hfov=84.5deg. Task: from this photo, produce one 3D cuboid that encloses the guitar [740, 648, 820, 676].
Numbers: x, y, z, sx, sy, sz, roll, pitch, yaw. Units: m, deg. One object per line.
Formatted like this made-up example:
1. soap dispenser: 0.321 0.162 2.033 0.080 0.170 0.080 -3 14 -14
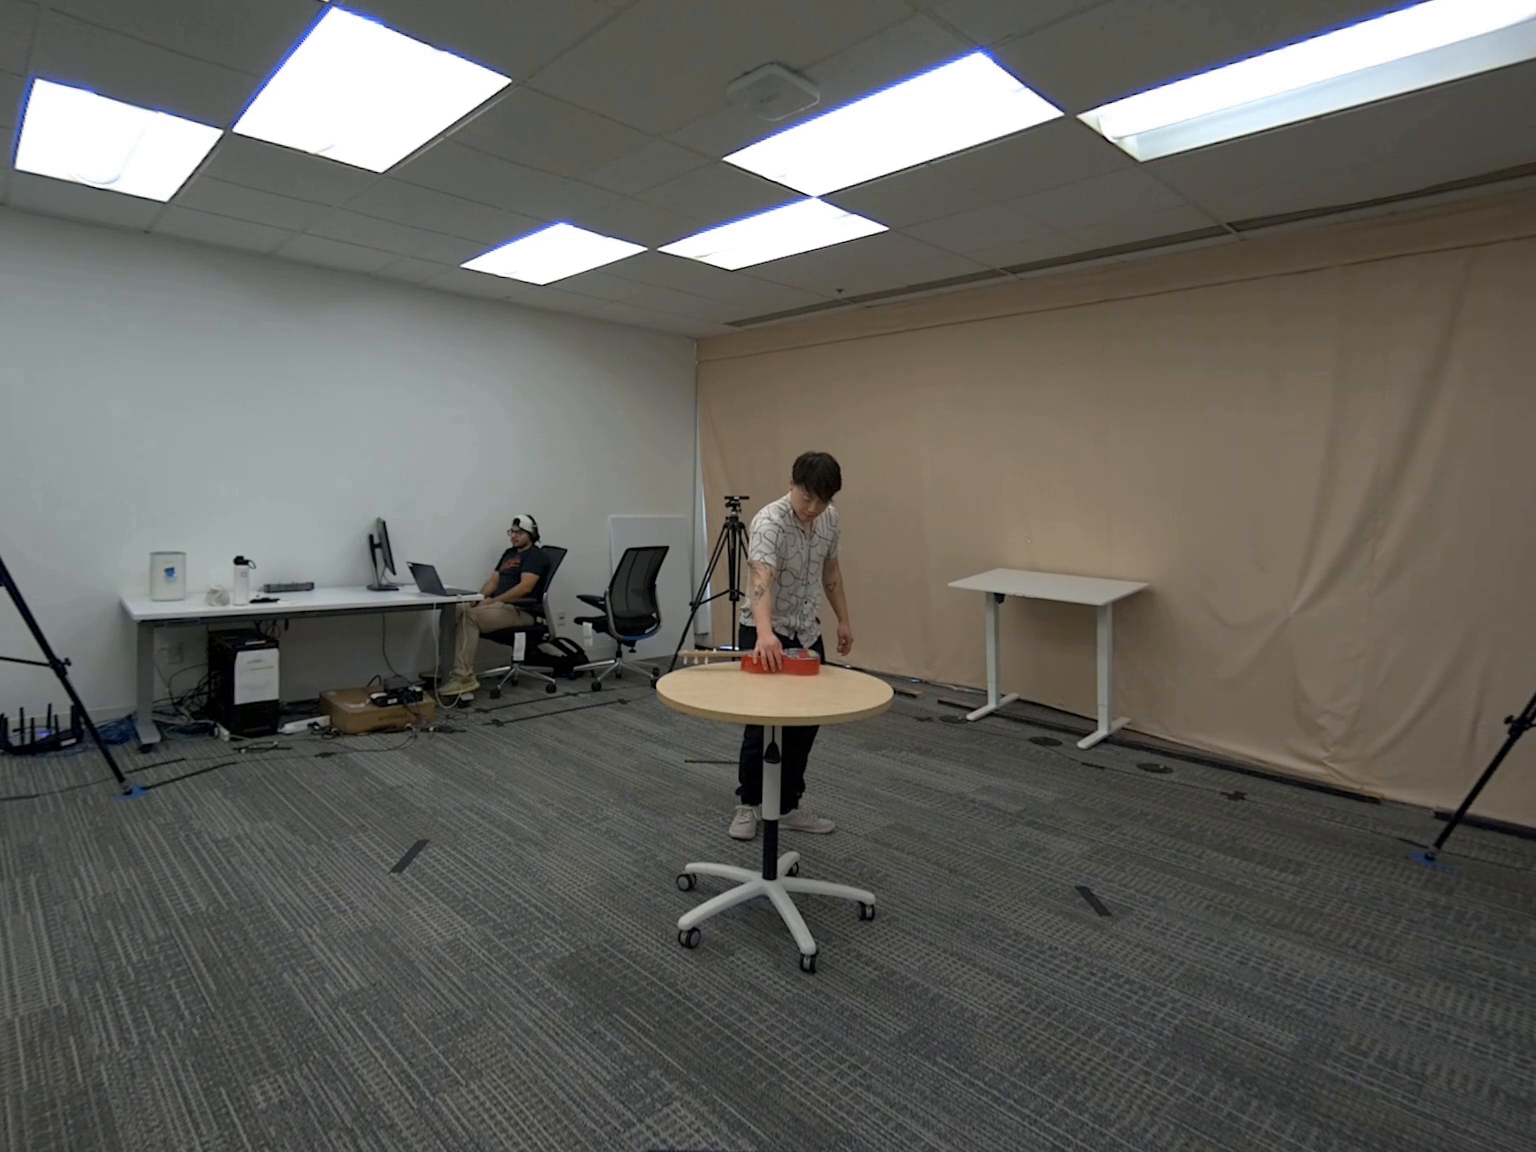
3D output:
1. guitar: -0.069 0.297 2.996 0.499 0.070 0.193 2 7 3
